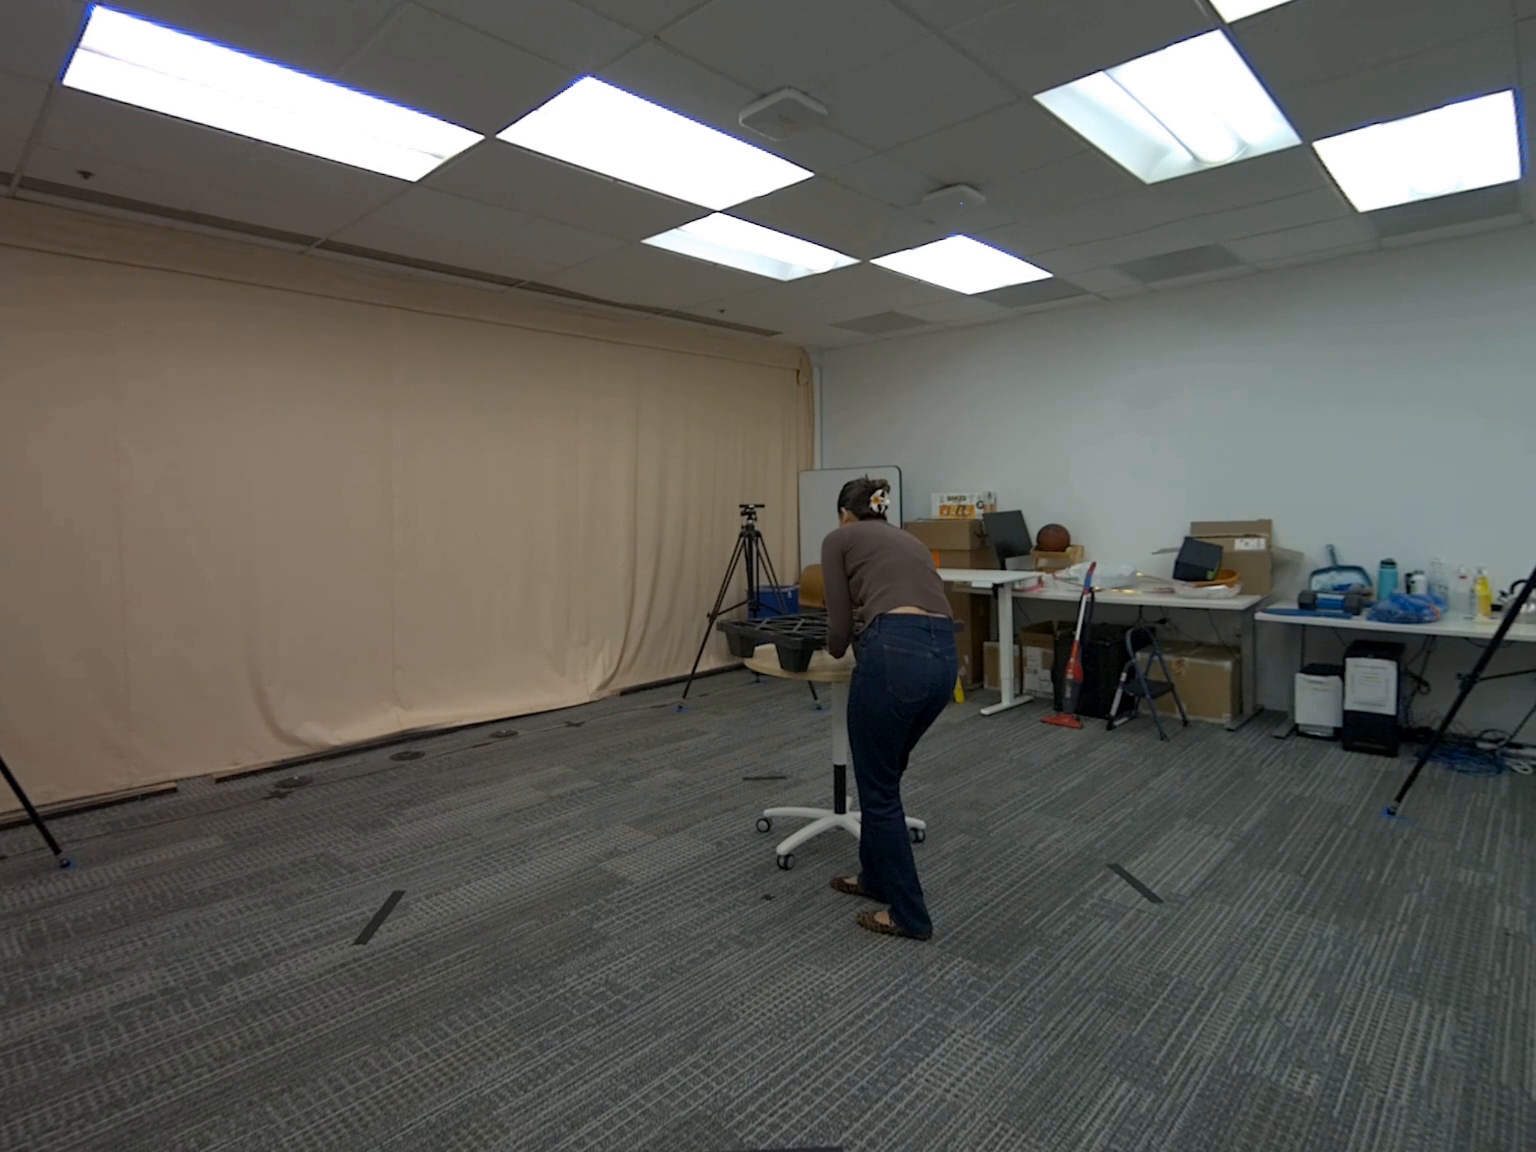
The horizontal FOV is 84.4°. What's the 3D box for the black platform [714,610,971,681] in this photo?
[{"bbox_3d":[0.285,0.250,3.374,0.784,0.143,0.623,-3,5,-30],"label":"black platform"}]
